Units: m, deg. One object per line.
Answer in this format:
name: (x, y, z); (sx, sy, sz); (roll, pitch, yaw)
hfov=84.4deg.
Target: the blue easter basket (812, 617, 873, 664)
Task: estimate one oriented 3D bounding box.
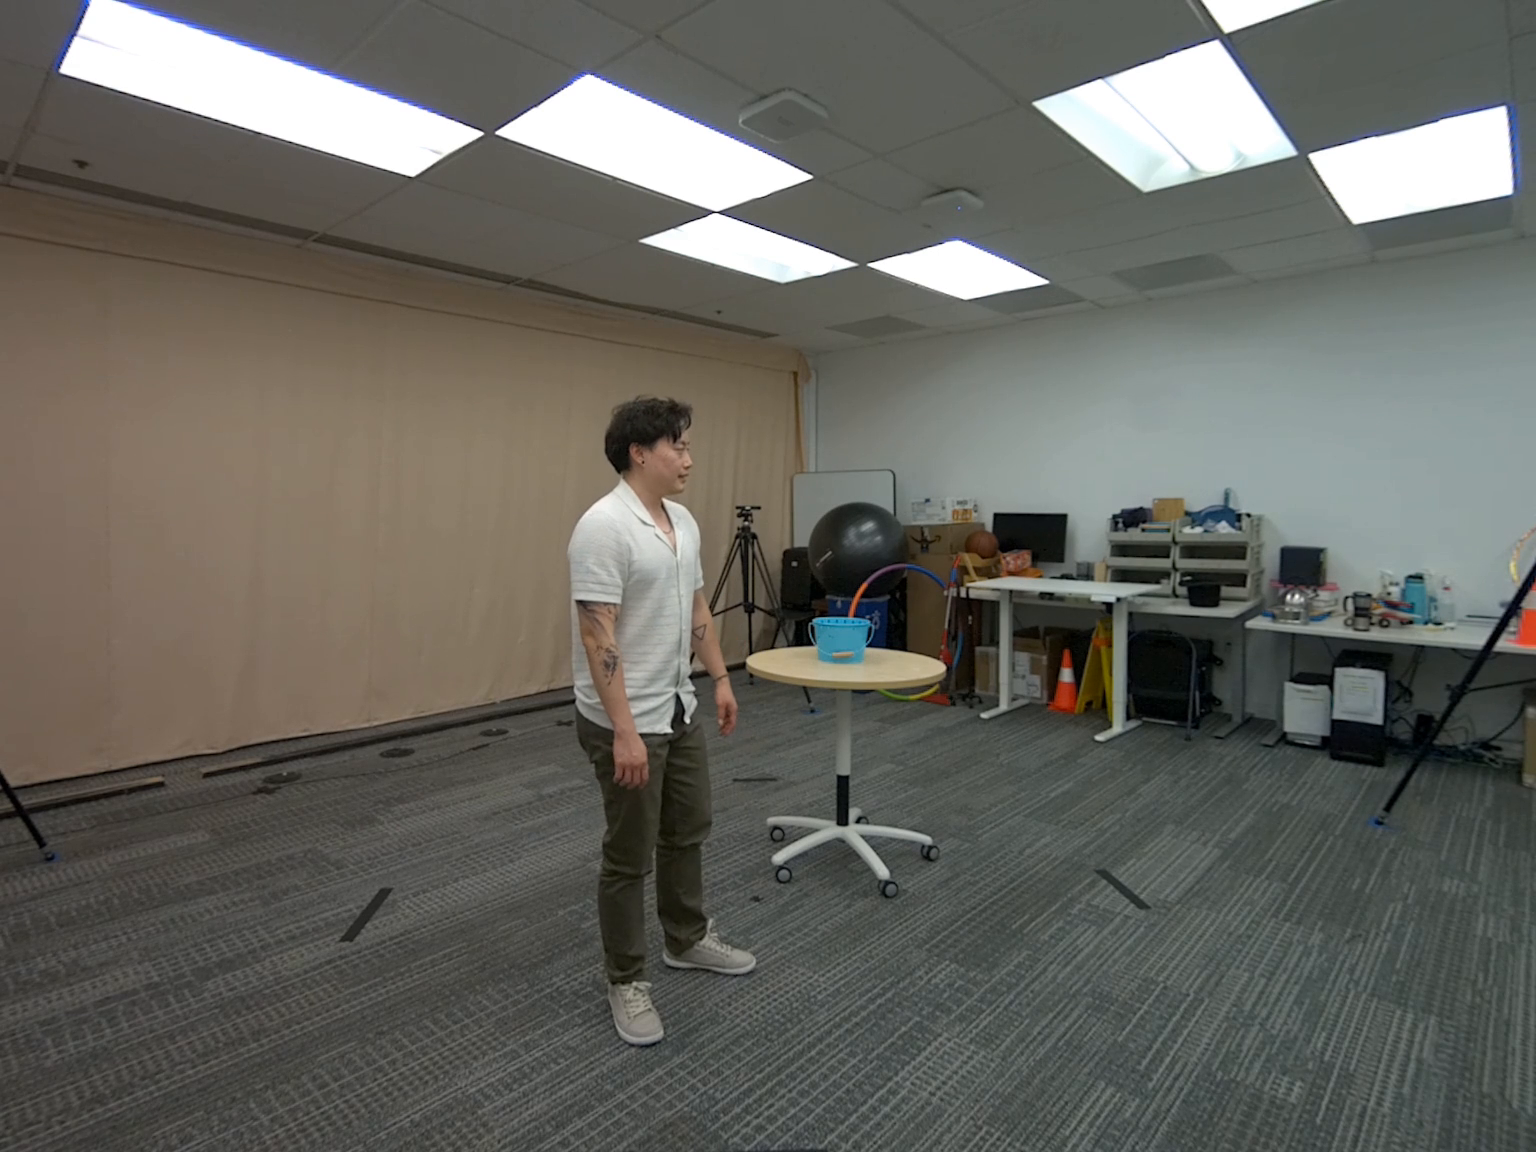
blue easter basket: (0.295, 0.258, 3.344); (0.243, 0.155, 0.244); (1, 3, -2)
